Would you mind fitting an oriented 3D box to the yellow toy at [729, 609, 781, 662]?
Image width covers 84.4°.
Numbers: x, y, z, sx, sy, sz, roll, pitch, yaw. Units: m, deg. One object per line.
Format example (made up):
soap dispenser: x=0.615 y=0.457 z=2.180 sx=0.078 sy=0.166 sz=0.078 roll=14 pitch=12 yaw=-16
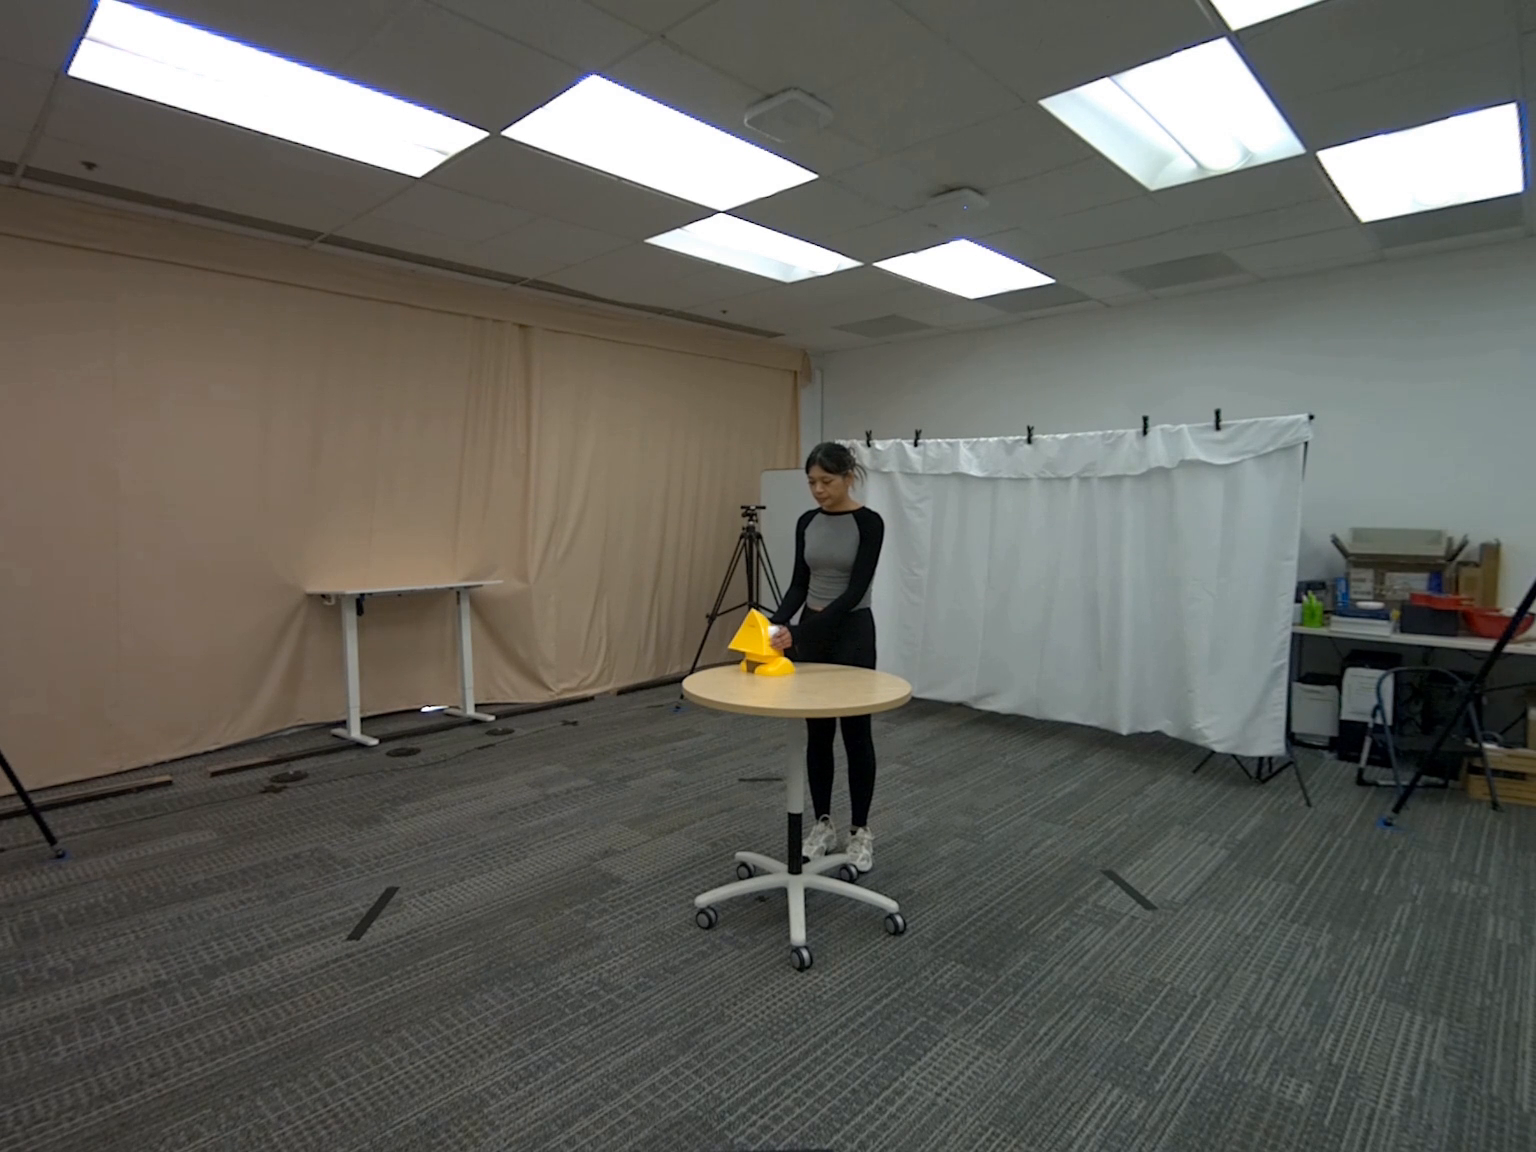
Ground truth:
yellow toy: x=-0.003 y=0.233 z=3.064 sx=0.187 sy=0.230 sz=0.211 roll=0 pitch=1 yaw=-40
